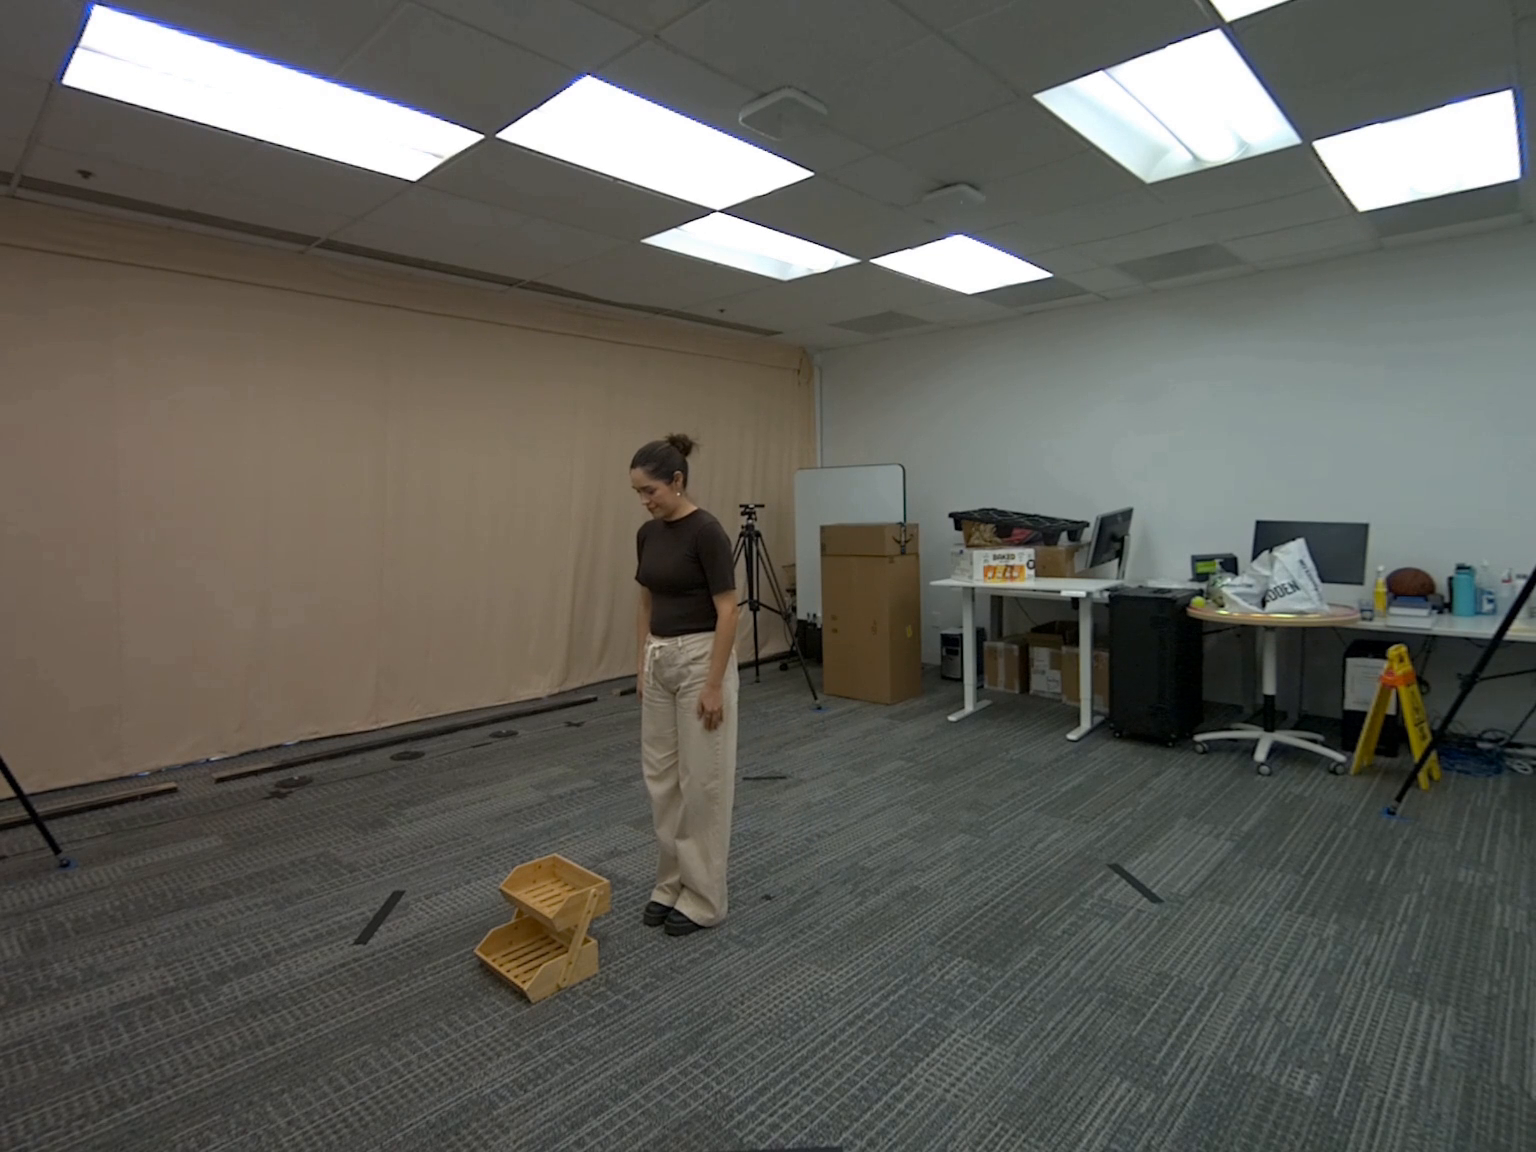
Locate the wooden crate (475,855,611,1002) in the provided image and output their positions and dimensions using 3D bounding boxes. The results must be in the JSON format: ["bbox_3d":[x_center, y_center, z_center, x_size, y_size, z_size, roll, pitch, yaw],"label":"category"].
[{"bbox_3d":[-0.692,1.061,2.559,0.335,0.273,0.293,2,4,44],"label":"wooden crate"}]
